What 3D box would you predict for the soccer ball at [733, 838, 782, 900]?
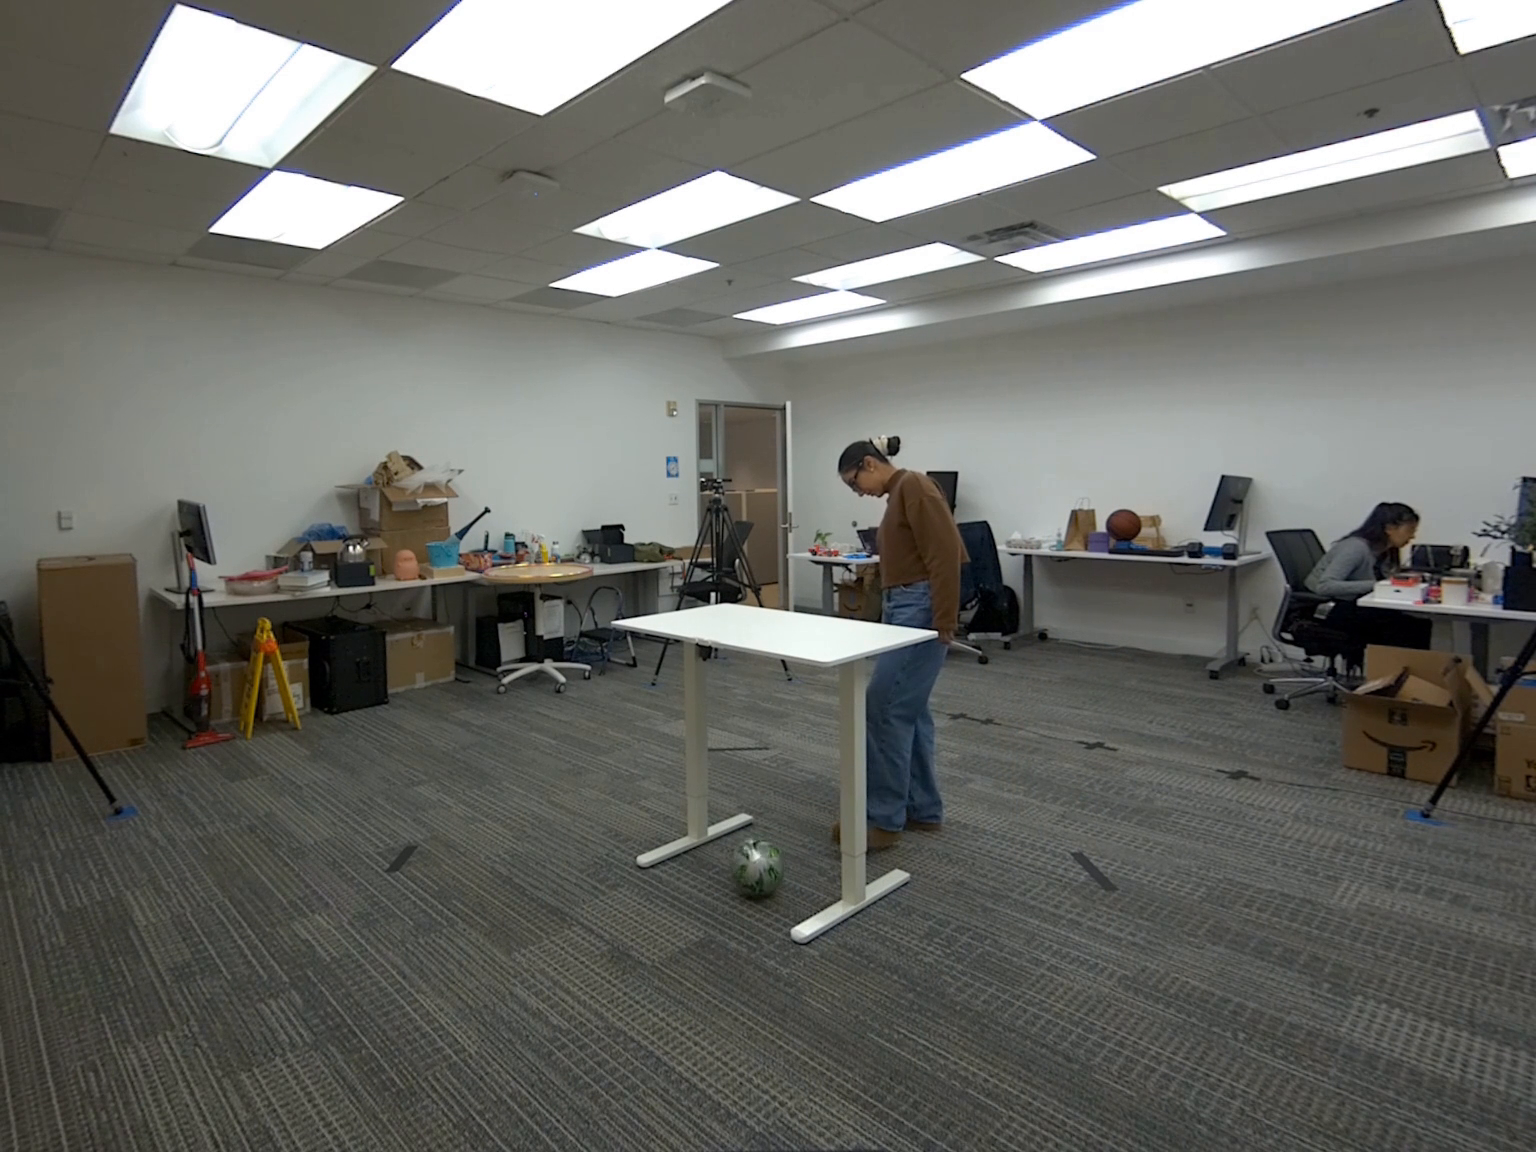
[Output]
[{"bbox_3d":[-0.033,0.982,2.870,0.187,0.187,0.188,-1,5,-2],"label":"soccer ball"}]
